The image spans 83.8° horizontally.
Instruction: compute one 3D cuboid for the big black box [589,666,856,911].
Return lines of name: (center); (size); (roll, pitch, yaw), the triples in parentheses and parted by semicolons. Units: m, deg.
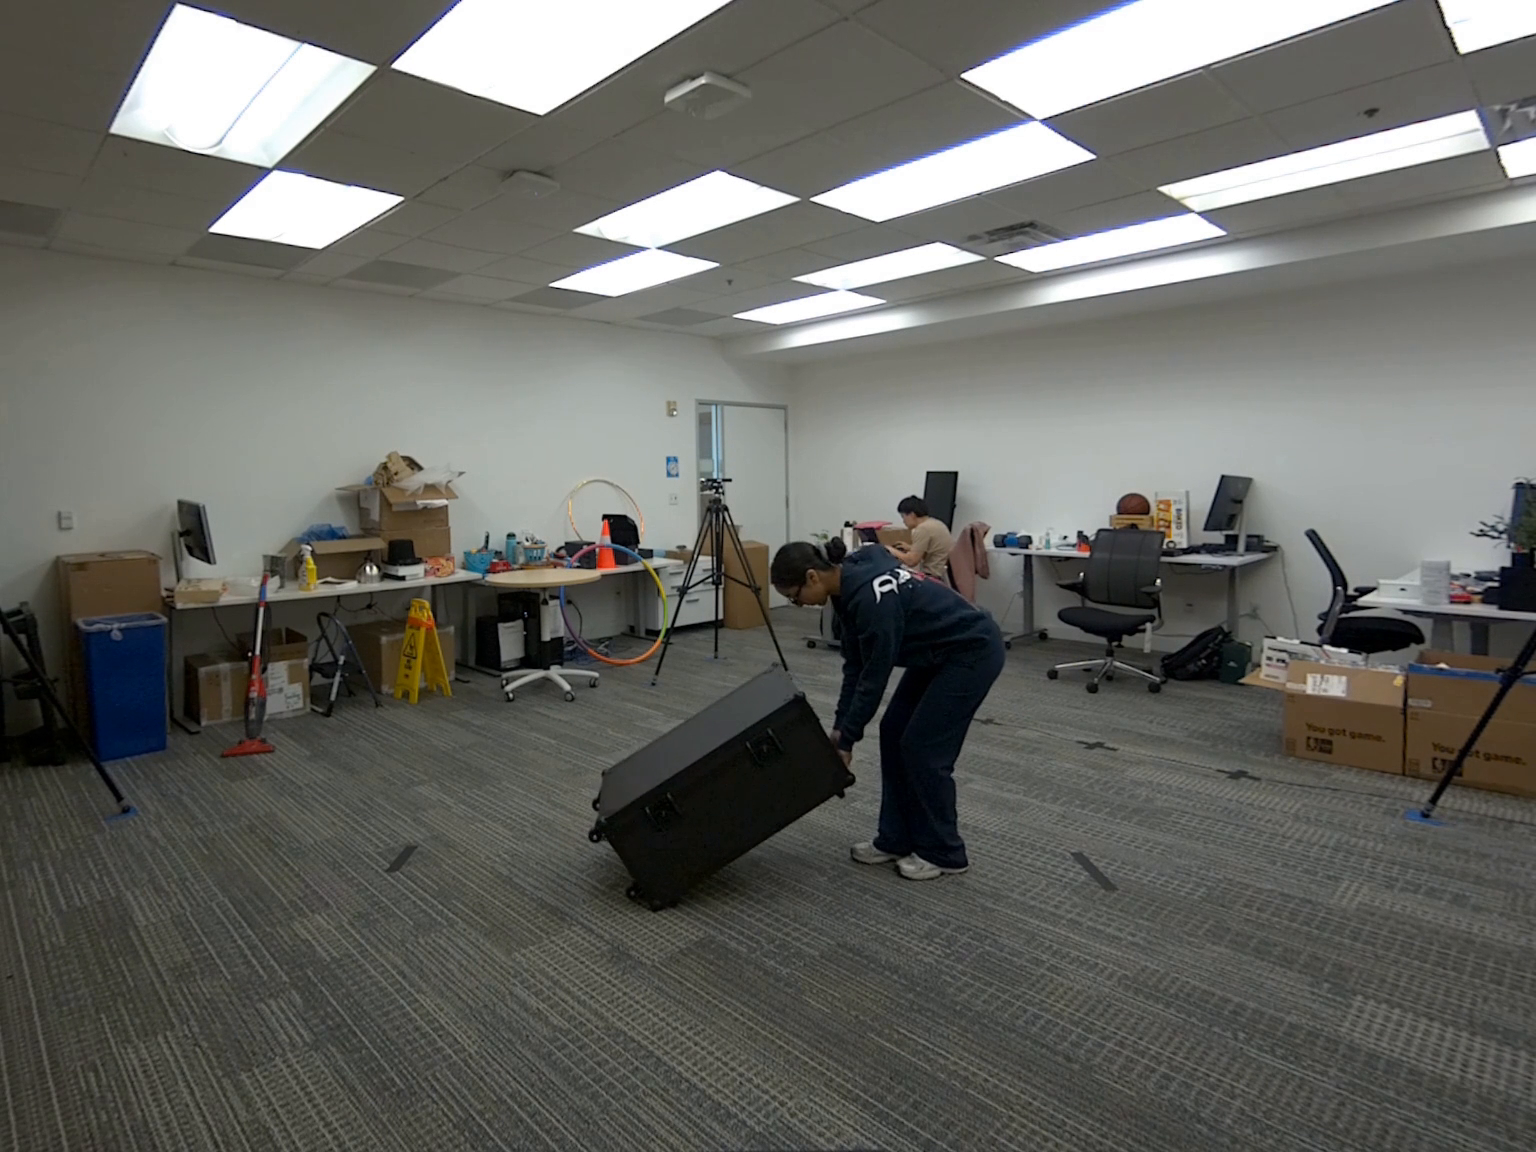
big black box: (-0.184, 0.733, 3.006); (0.860, 0.392, 0.527); (-31, 9, -3)
